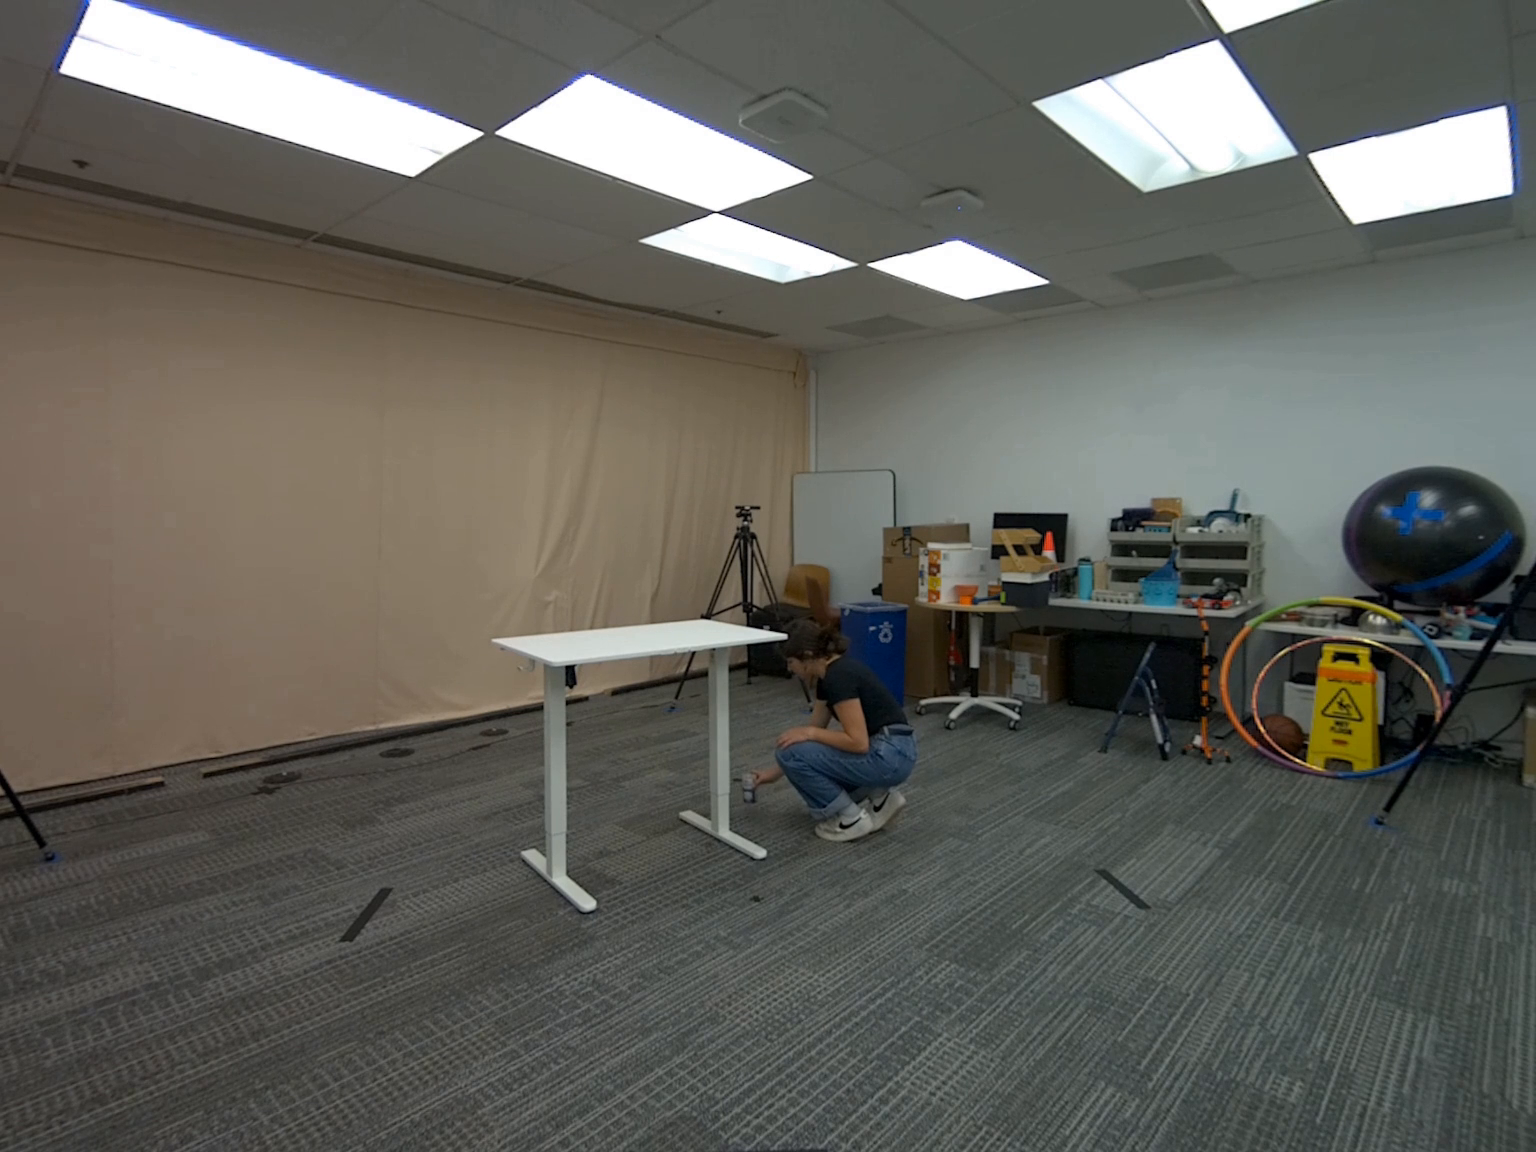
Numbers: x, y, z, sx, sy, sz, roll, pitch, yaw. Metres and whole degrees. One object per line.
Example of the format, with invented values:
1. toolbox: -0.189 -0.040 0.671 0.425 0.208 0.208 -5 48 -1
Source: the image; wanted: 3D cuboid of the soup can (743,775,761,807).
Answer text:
1. soup can: -0.073 0.959 3.795 0.067 0.122 0.067 -3 -4 -2
